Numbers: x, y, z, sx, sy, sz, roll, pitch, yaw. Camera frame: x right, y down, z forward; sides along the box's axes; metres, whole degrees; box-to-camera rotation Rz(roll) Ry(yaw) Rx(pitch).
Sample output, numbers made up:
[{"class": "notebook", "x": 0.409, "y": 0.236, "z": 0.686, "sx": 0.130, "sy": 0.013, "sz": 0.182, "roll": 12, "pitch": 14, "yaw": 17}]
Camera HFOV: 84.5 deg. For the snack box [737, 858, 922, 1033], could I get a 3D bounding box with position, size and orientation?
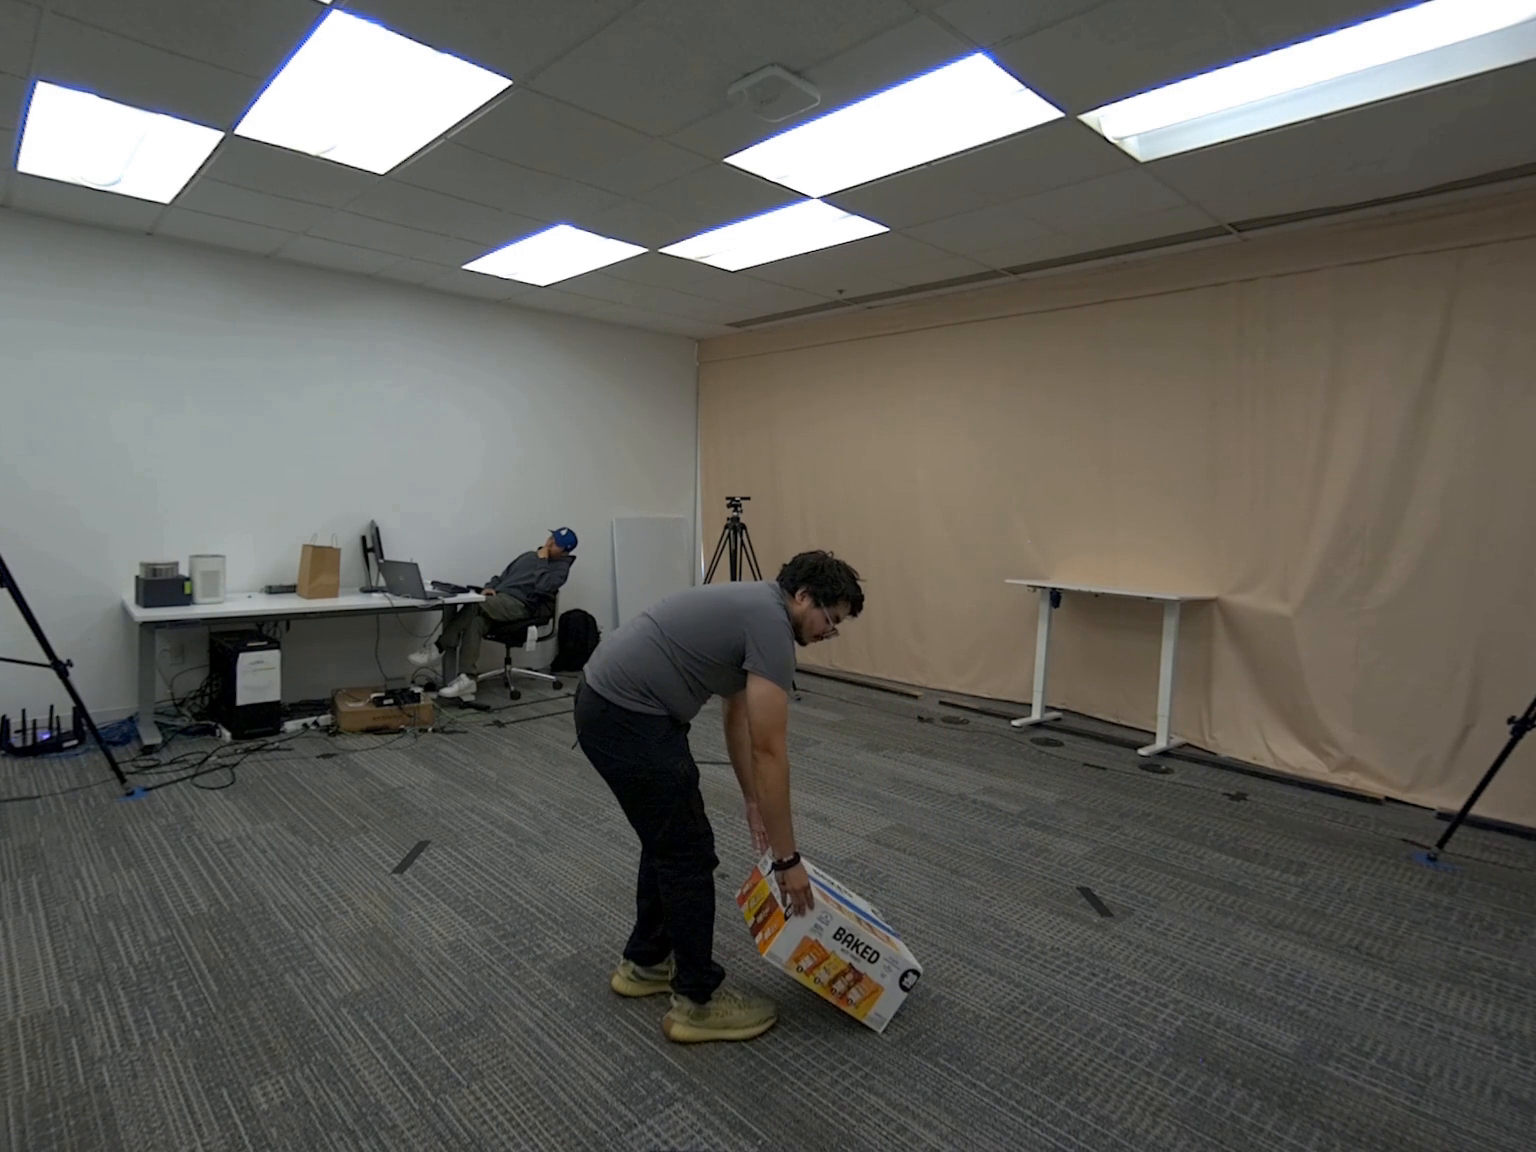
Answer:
[{"class": "snack box", "x": 0.149, "y": 0.988, "z": 2.328, "sx": 0.400, "sy": 0.206, "sz": 0.345, "roll": 38, "pitch": -4, "yaw": -13}]
